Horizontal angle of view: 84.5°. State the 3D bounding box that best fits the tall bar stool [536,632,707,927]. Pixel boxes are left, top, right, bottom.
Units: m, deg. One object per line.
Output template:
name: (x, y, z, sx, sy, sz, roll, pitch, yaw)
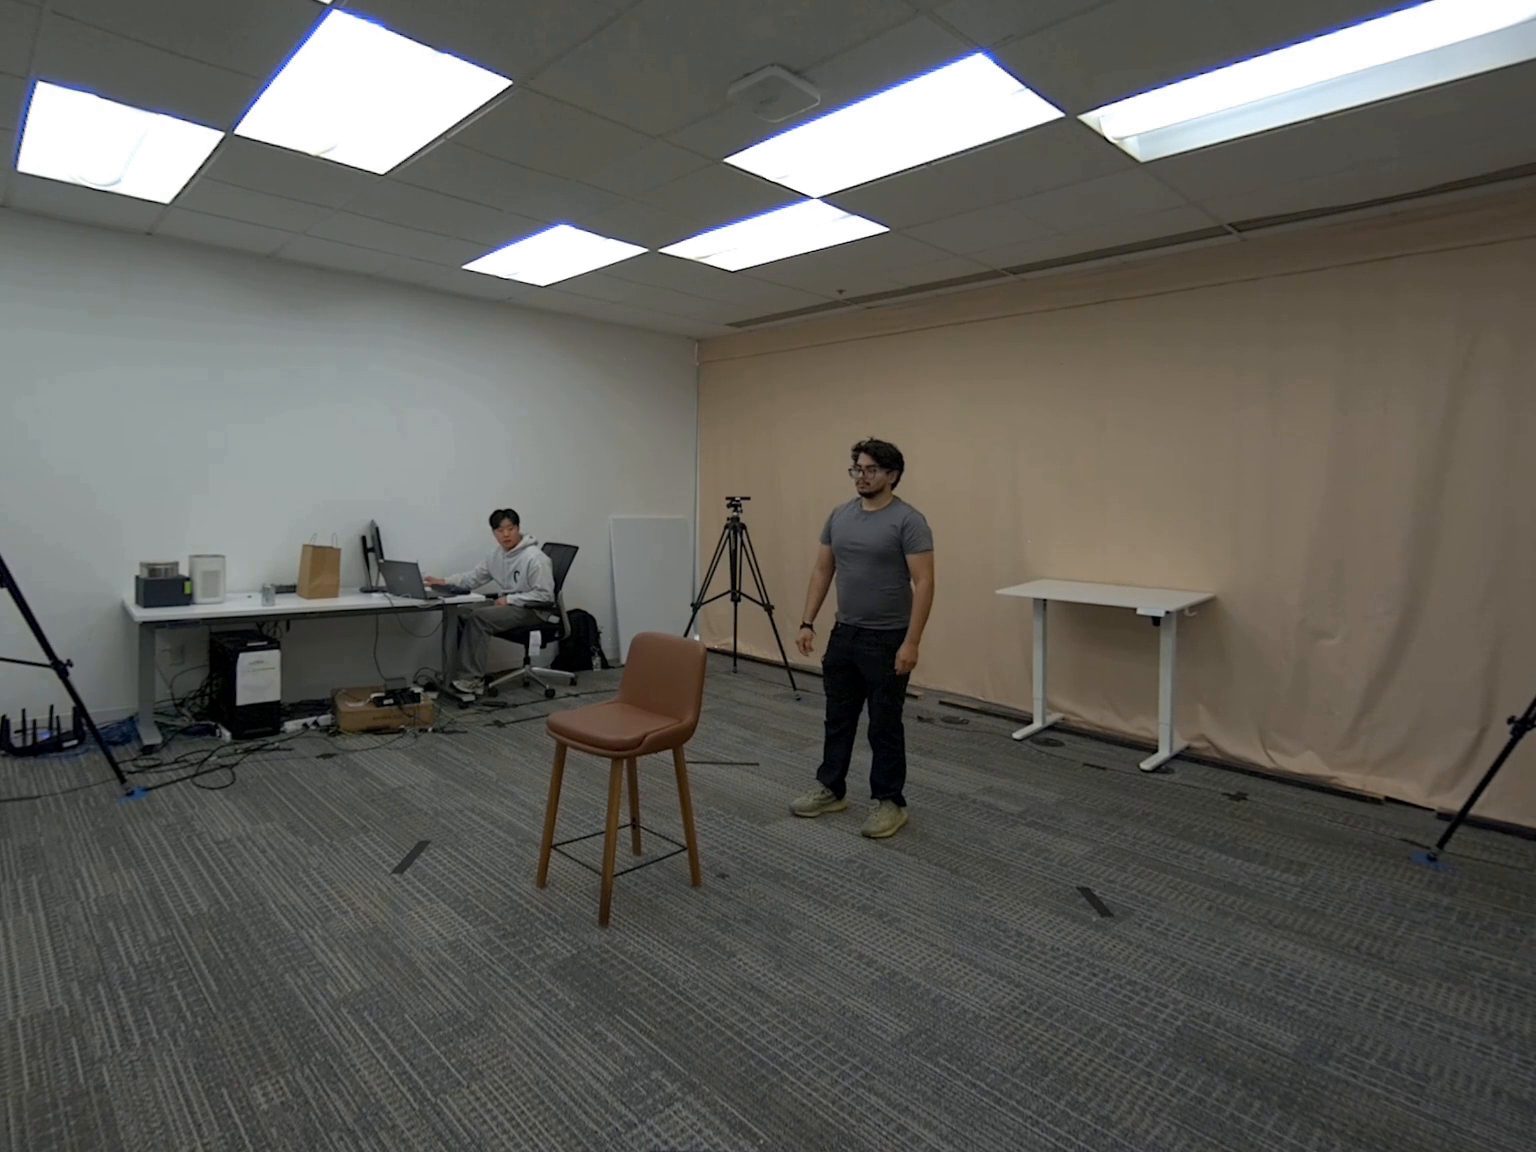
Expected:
tall bar stool: (-0.517, 0.675, 2.983, 0.468, 0.888, 0.456, 4, 3, 45)
